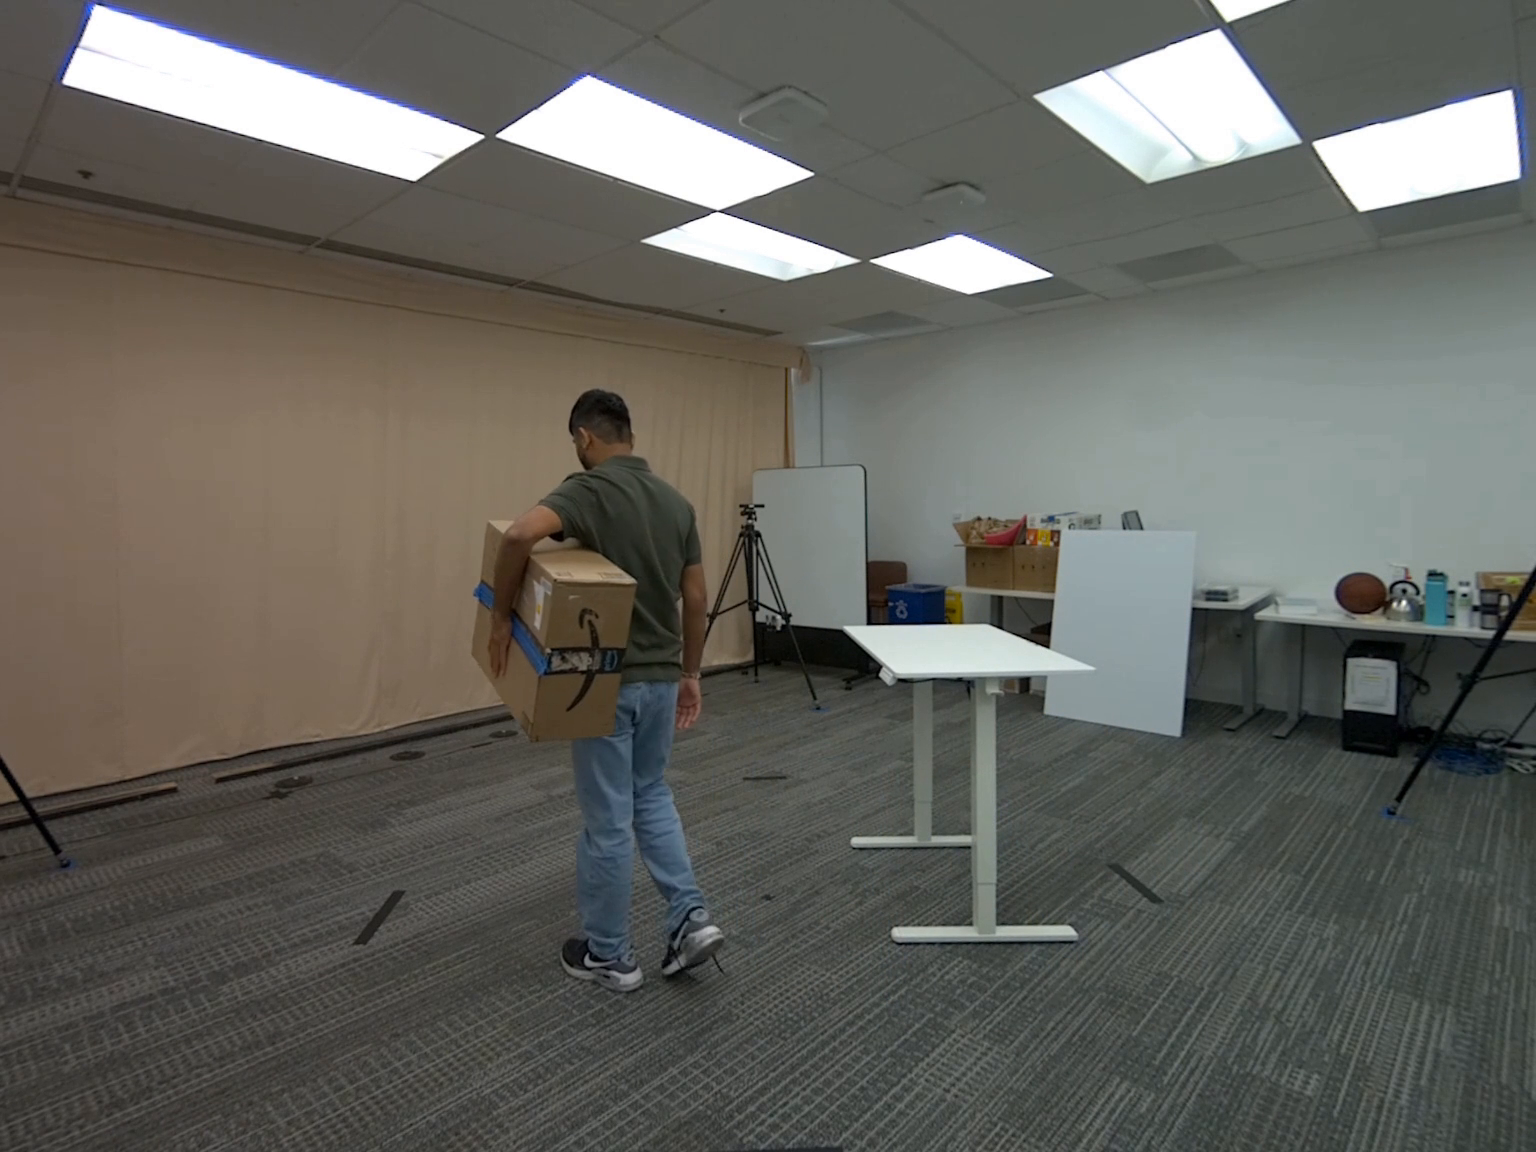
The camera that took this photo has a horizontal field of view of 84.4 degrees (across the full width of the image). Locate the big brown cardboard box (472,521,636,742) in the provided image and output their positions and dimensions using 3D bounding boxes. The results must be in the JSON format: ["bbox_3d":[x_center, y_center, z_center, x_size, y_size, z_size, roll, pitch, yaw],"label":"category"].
[{"bbox_3d":[-0.591,0.124,2.256,0.226,0.415,0.609,3,14,-33],"label":"big brown cardboard box"}]
